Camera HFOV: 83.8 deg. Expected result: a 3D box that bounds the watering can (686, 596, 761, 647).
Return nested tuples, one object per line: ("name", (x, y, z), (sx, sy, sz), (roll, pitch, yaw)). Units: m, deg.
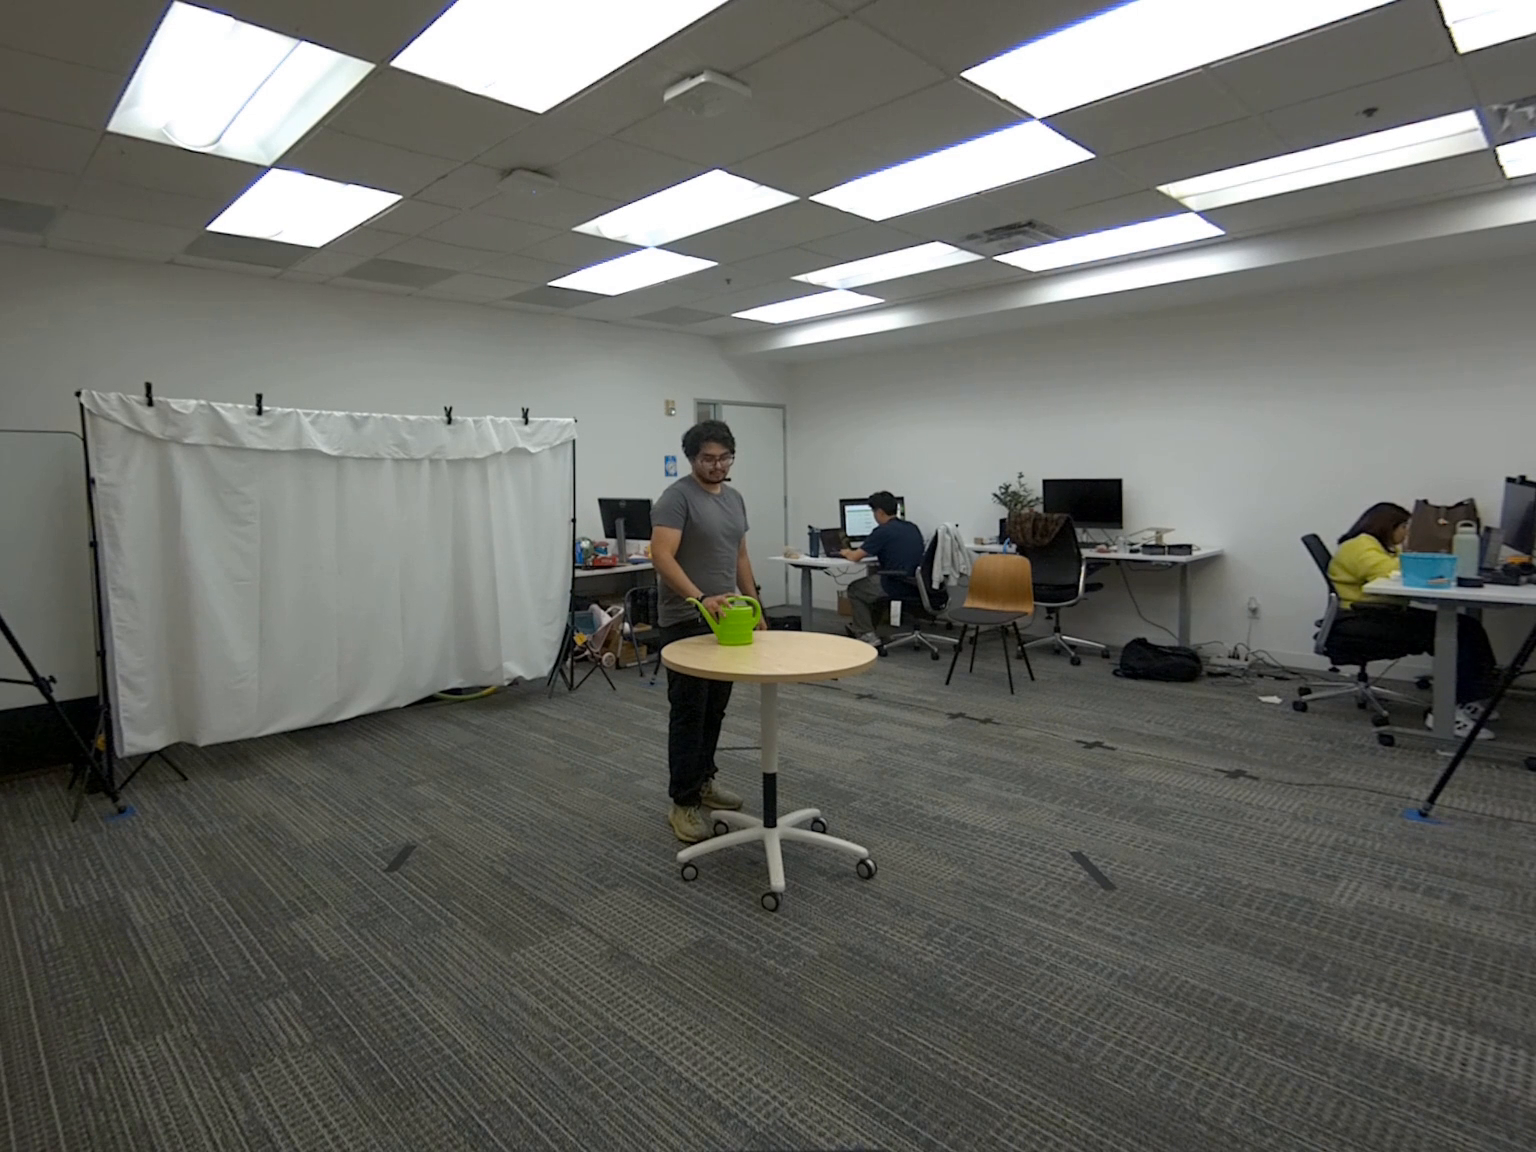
("watering can", (-0.169, 0.171, 3.179), (0.276, 0.177, 0.099), (0, 1, -10))
